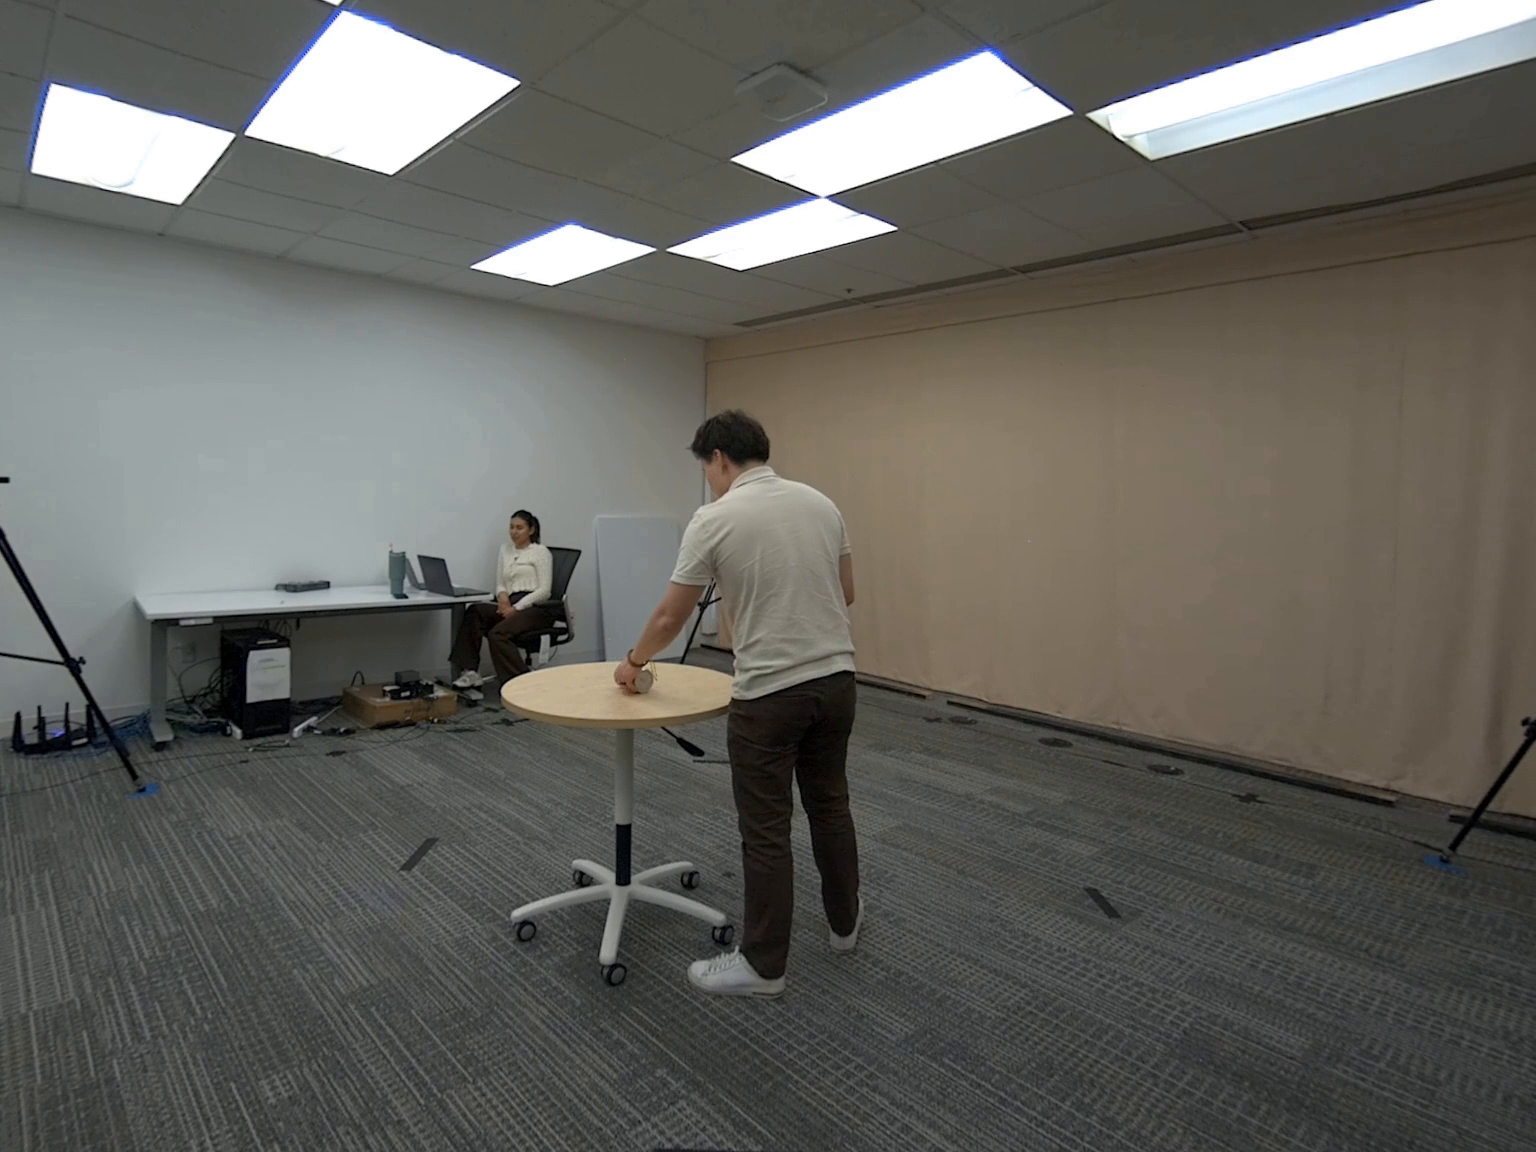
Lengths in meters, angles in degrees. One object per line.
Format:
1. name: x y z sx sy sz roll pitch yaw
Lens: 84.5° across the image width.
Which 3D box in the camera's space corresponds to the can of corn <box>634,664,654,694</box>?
1. can of corn: -0.437 0.322 2.627 0.073 0.074 0.113 -1 6 -29
